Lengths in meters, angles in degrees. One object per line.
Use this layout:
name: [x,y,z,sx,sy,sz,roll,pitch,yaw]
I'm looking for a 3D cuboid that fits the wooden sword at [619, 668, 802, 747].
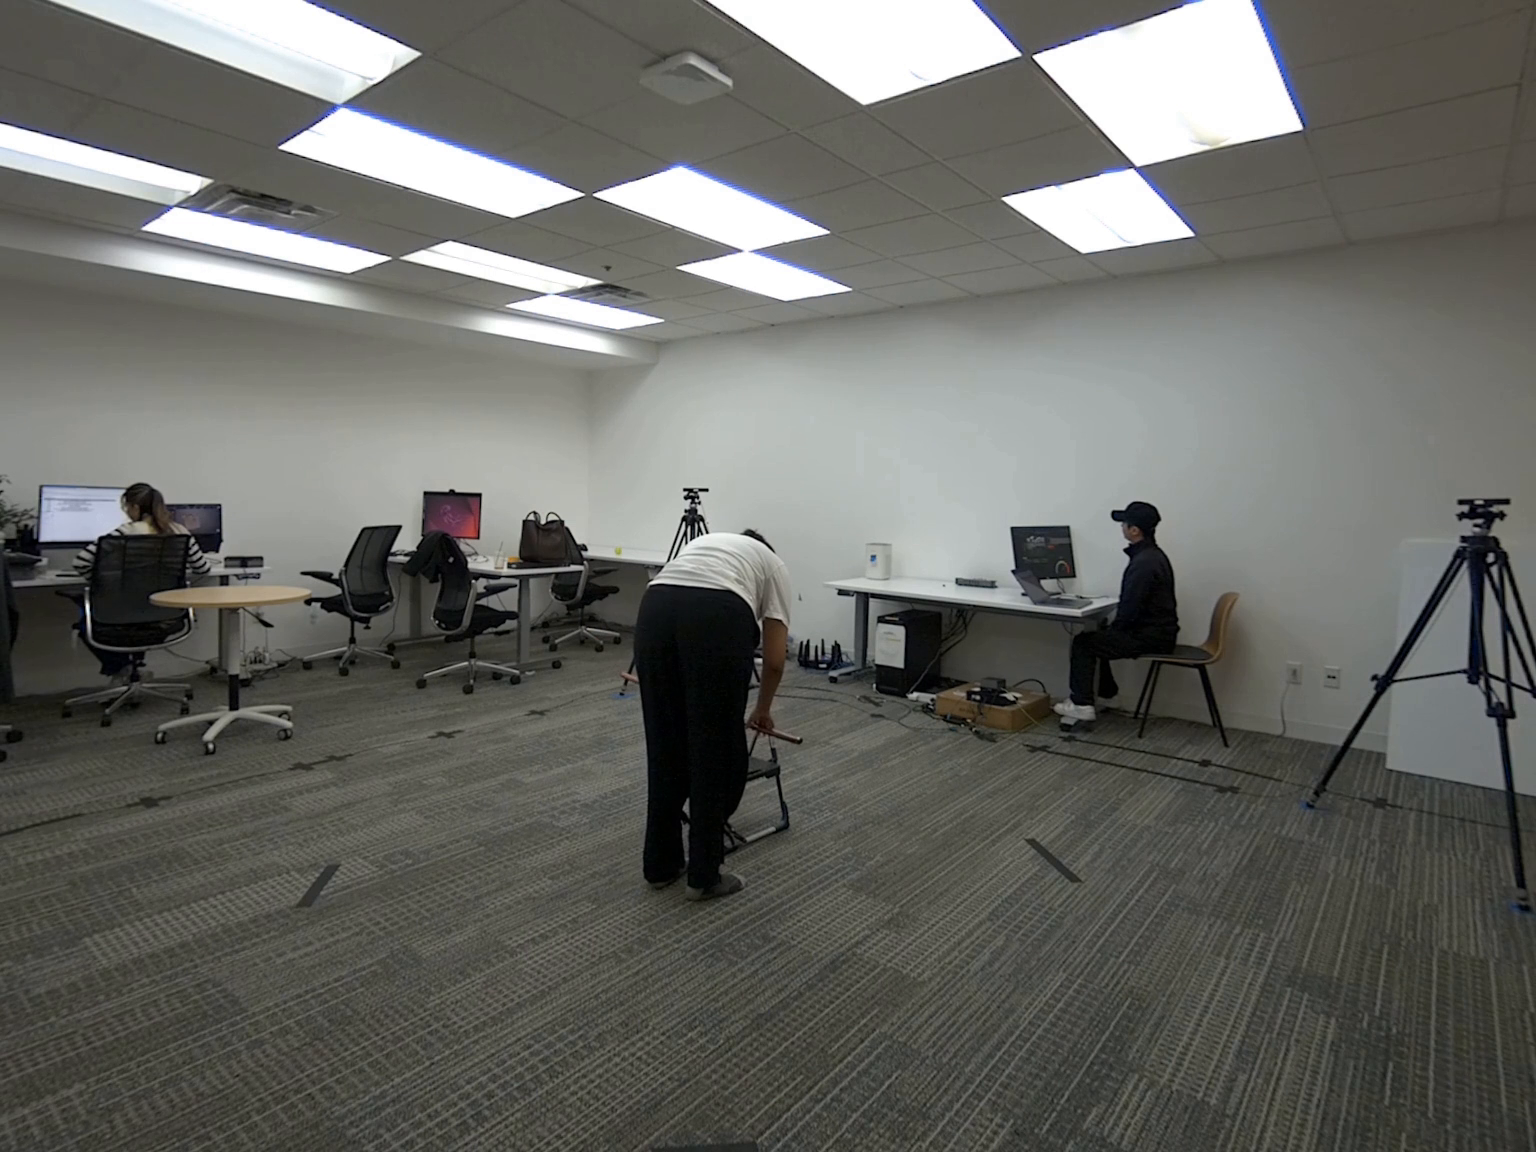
wooden sword: [-0.281,0.533,3.531,1.063,0.051,0.023,12,-17,41]
